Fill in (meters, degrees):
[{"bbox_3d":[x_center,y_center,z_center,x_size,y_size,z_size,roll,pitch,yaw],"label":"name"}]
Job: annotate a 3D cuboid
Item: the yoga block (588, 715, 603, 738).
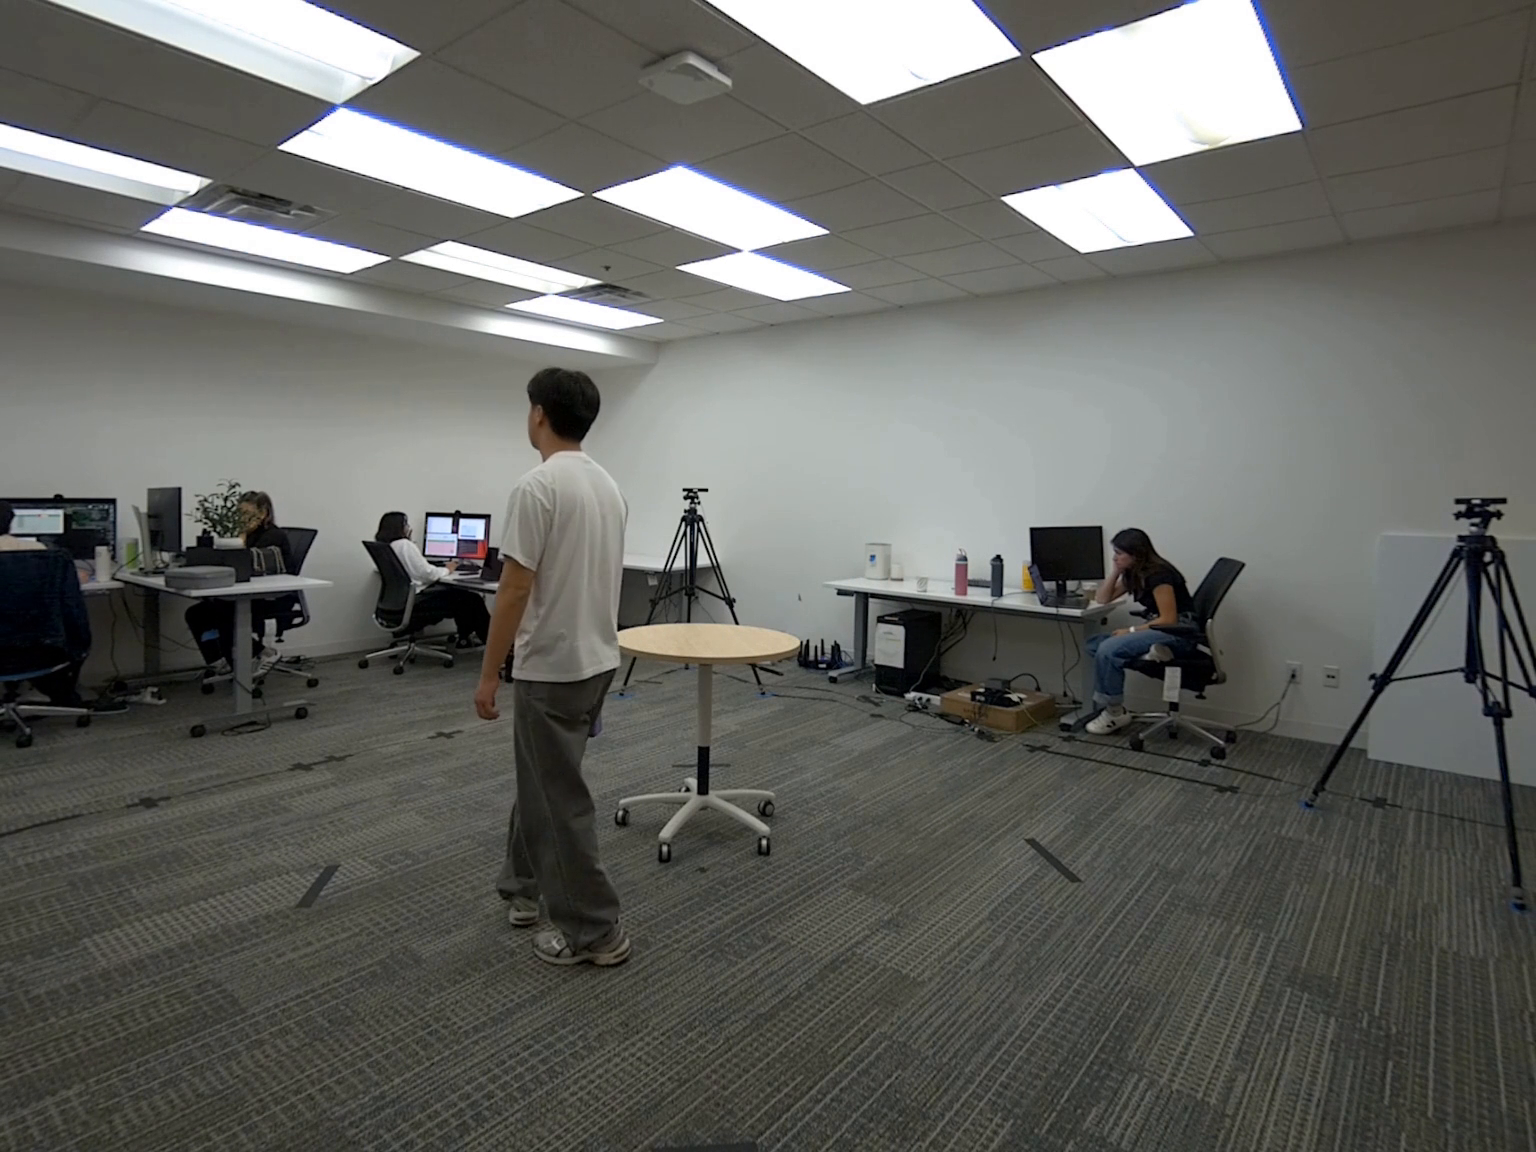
[{"bbox_3d":[-0.649,0.417,2.868,0.150,0.228,0.076,3,4,4],"label":"yoga block"}]
